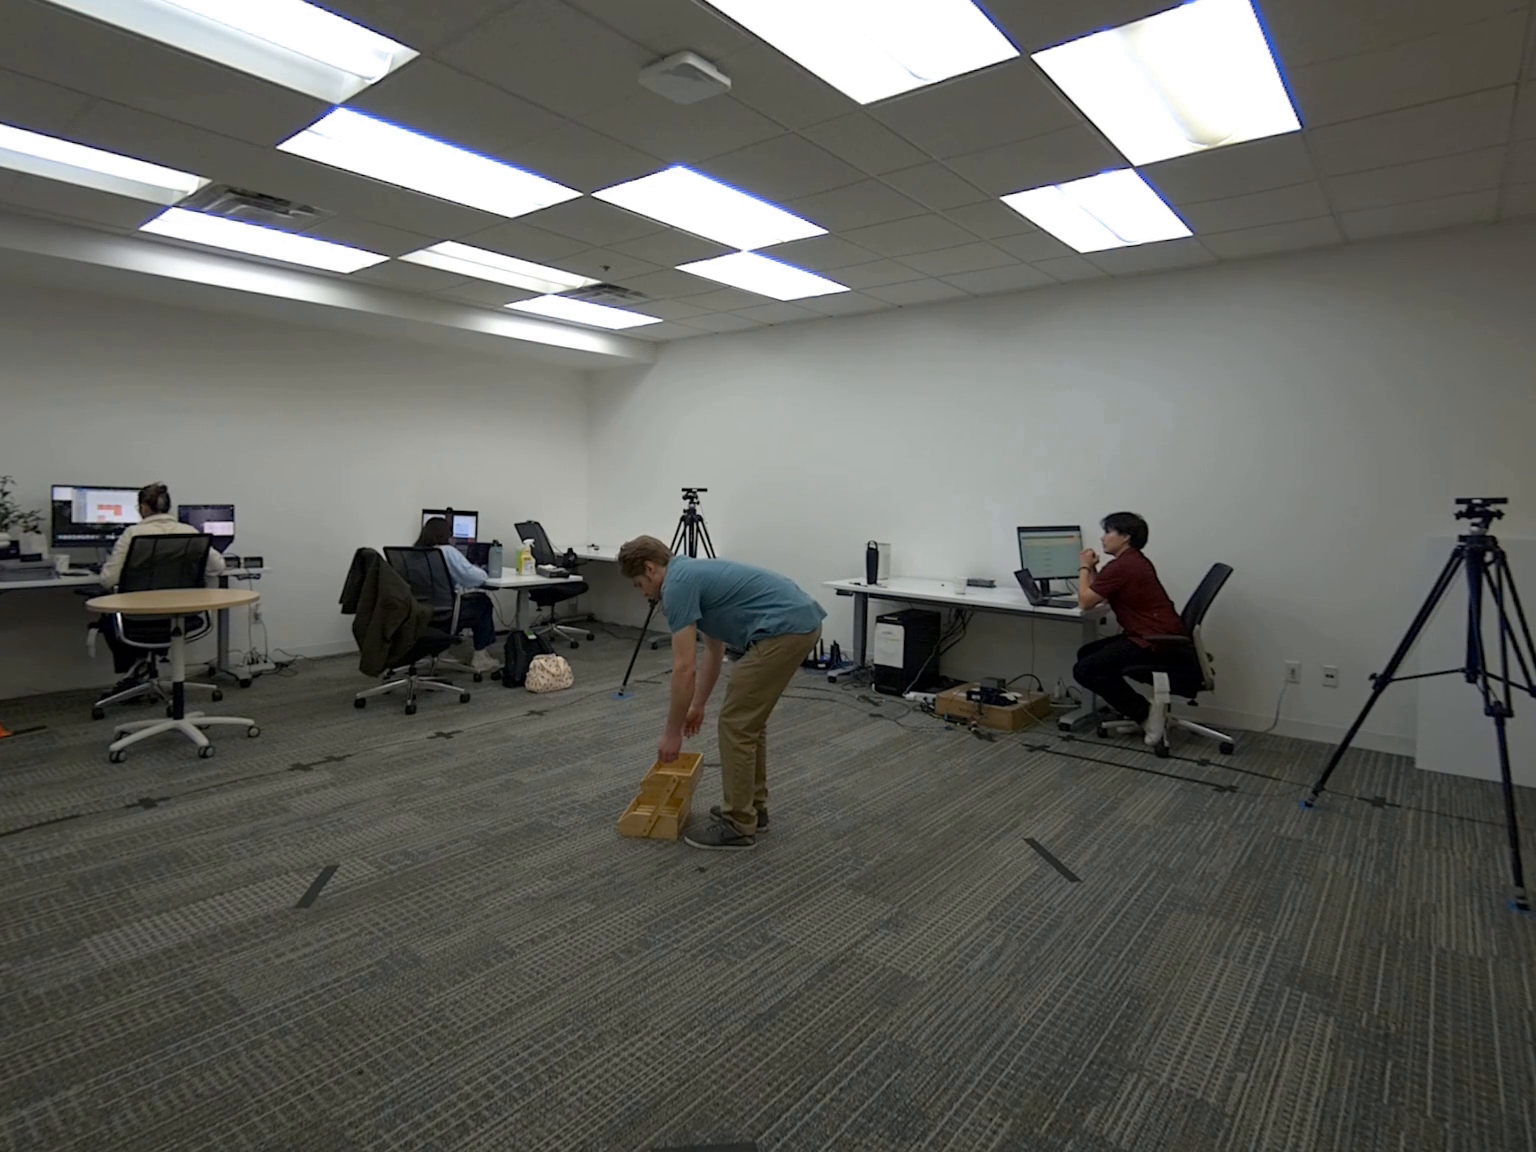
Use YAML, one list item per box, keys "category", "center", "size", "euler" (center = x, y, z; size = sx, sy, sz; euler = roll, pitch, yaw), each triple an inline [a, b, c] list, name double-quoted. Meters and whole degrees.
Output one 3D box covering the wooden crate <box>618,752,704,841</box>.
- category: "wooden crate"
  center: [-0.457, 0.893, 3.532]
  size: [0.305, 0.272, 0.323]
  euler: [2, 4, 7]
